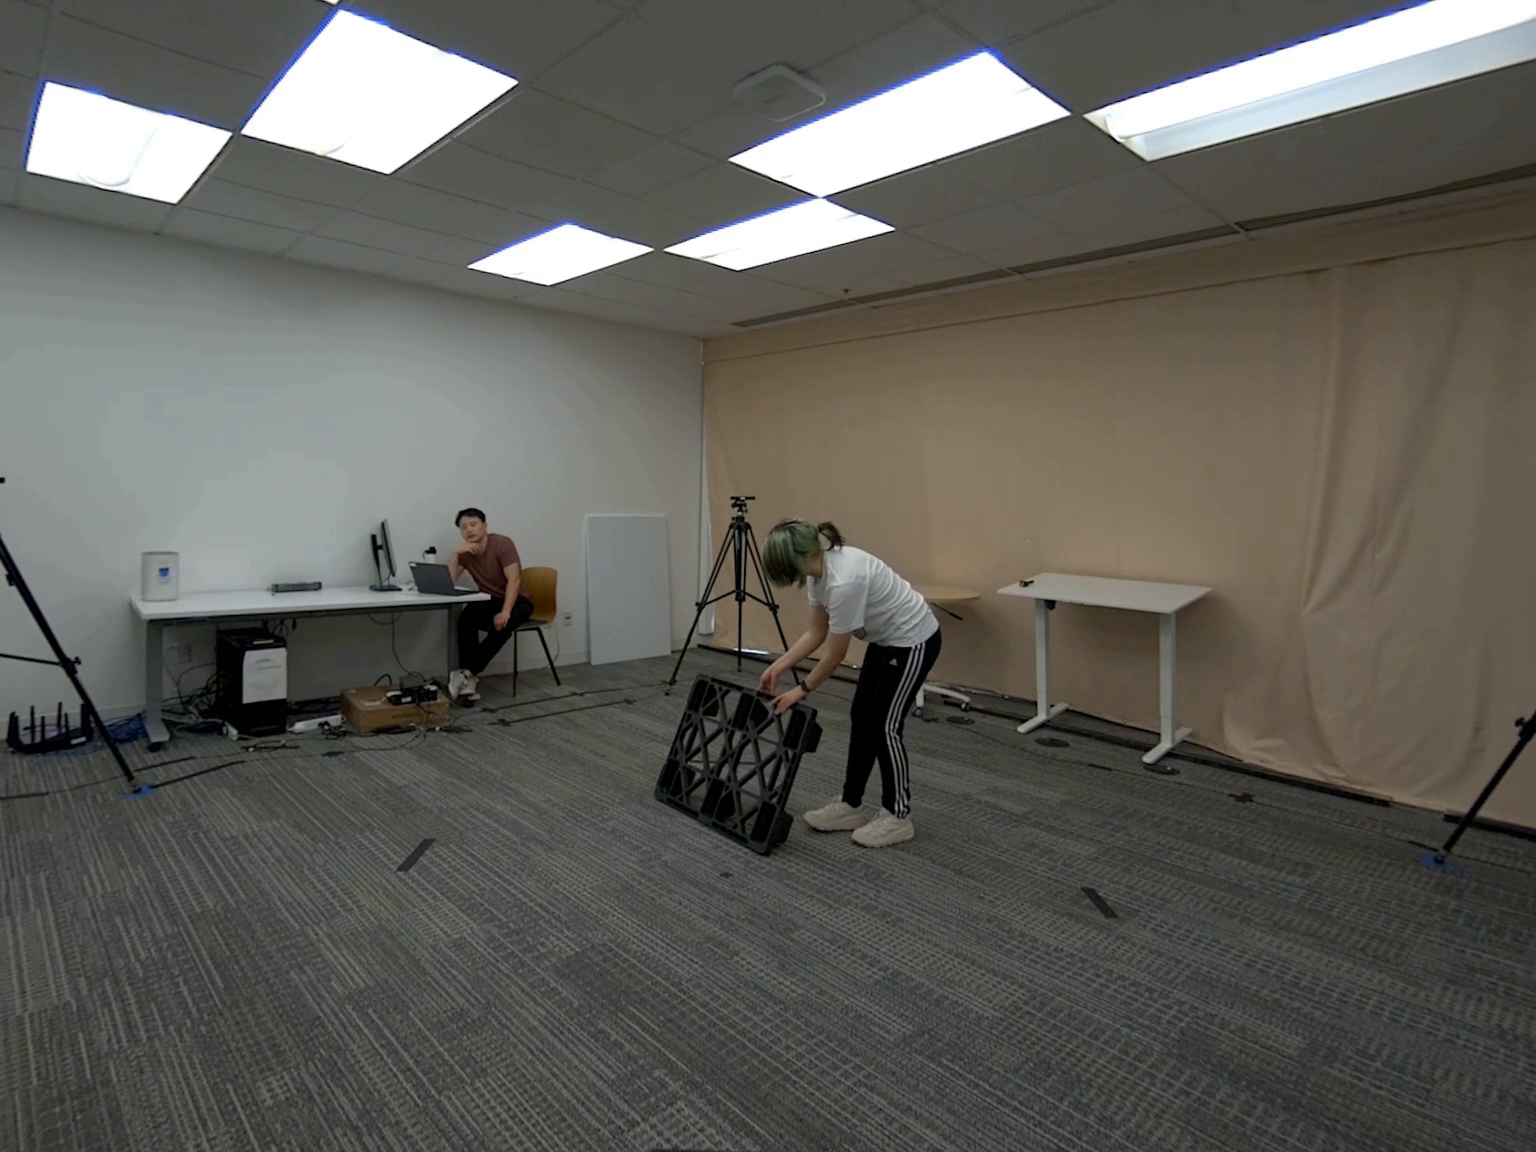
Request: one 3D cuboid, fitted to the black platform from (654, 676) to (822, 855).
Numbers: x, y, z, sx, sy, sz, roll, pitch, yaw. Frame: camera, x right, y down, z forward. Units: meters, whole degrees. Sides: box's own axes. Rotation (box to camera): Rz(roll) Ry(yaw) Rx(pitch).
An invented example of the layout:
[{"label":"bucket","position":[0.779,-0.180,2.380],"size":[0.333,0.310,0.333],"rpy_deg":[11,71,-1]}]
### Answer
[{"label":"black platform","position":[-0.138,0.795,3.663],"size":[0.139,0.608,0.826],"rpy_deg":[28,-13,-37]}]
